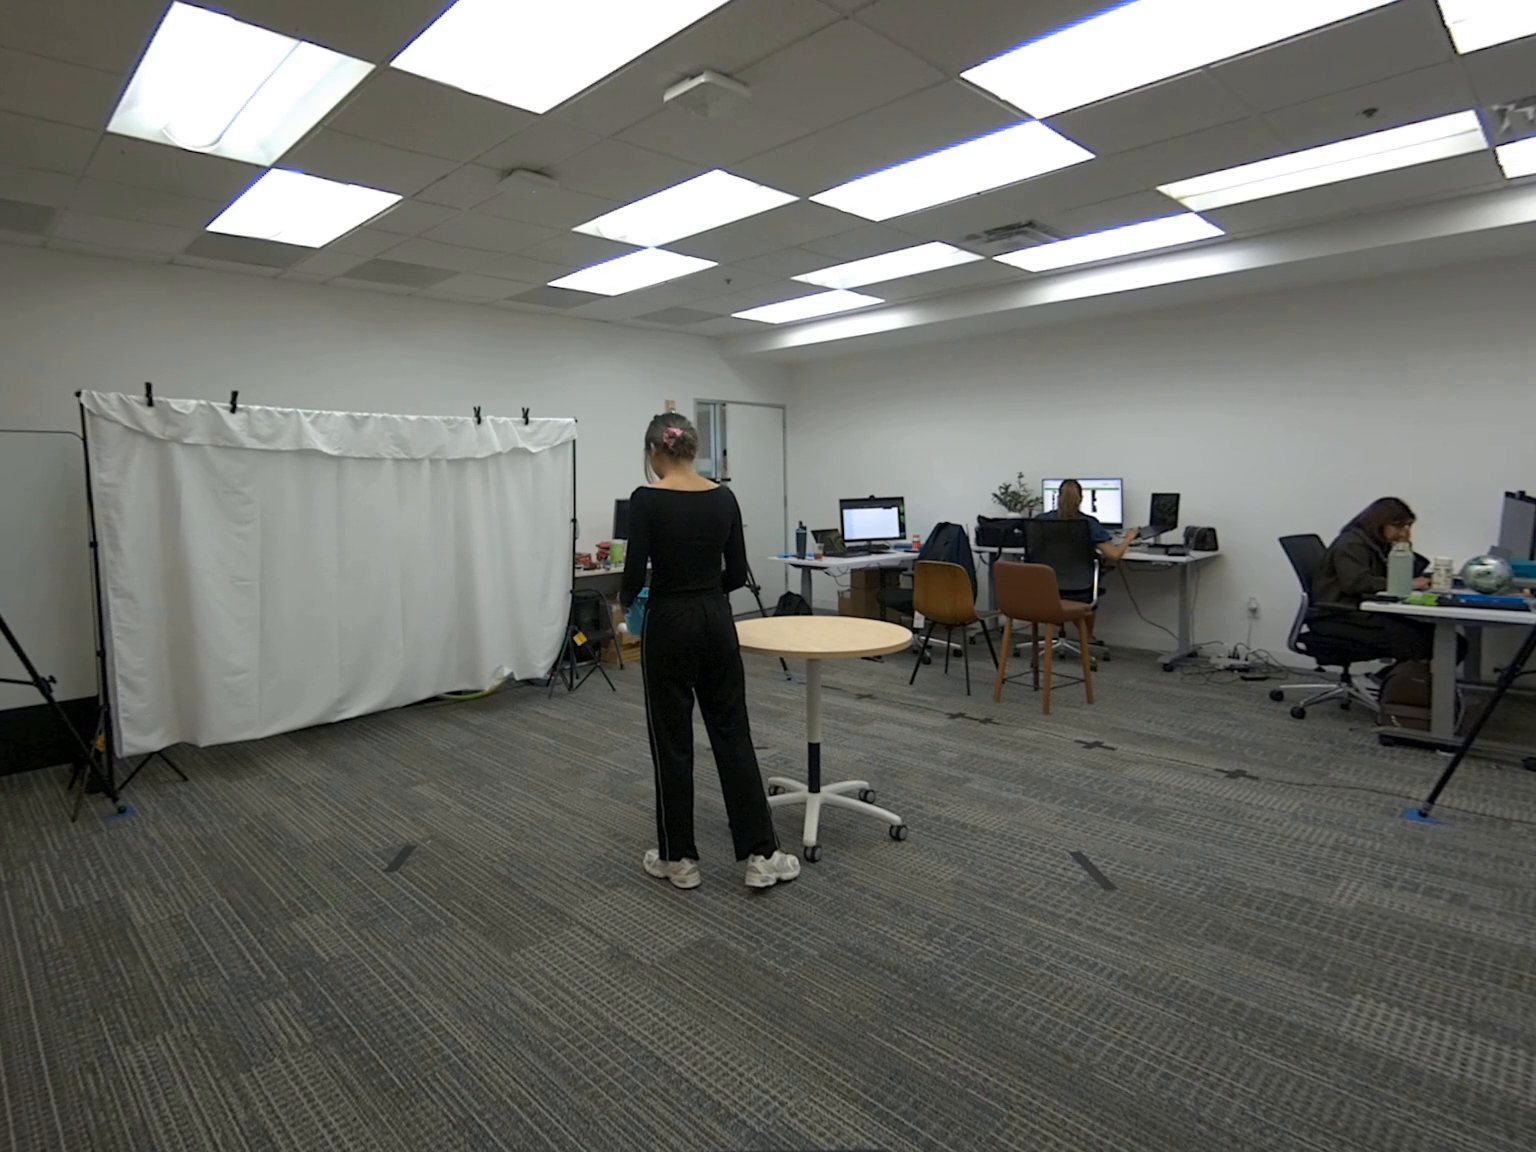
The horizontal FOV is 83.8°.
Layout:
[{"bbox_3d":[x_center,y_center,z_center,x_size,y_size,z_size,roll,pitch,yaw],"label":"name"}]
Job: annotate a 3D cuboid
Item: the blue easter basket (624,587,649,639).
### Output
[{"bbox_3d":[-0.431,0.146,3.212,0.243,0.155,0.245,-1,7,-2],"label":"blue easter basket"}]
